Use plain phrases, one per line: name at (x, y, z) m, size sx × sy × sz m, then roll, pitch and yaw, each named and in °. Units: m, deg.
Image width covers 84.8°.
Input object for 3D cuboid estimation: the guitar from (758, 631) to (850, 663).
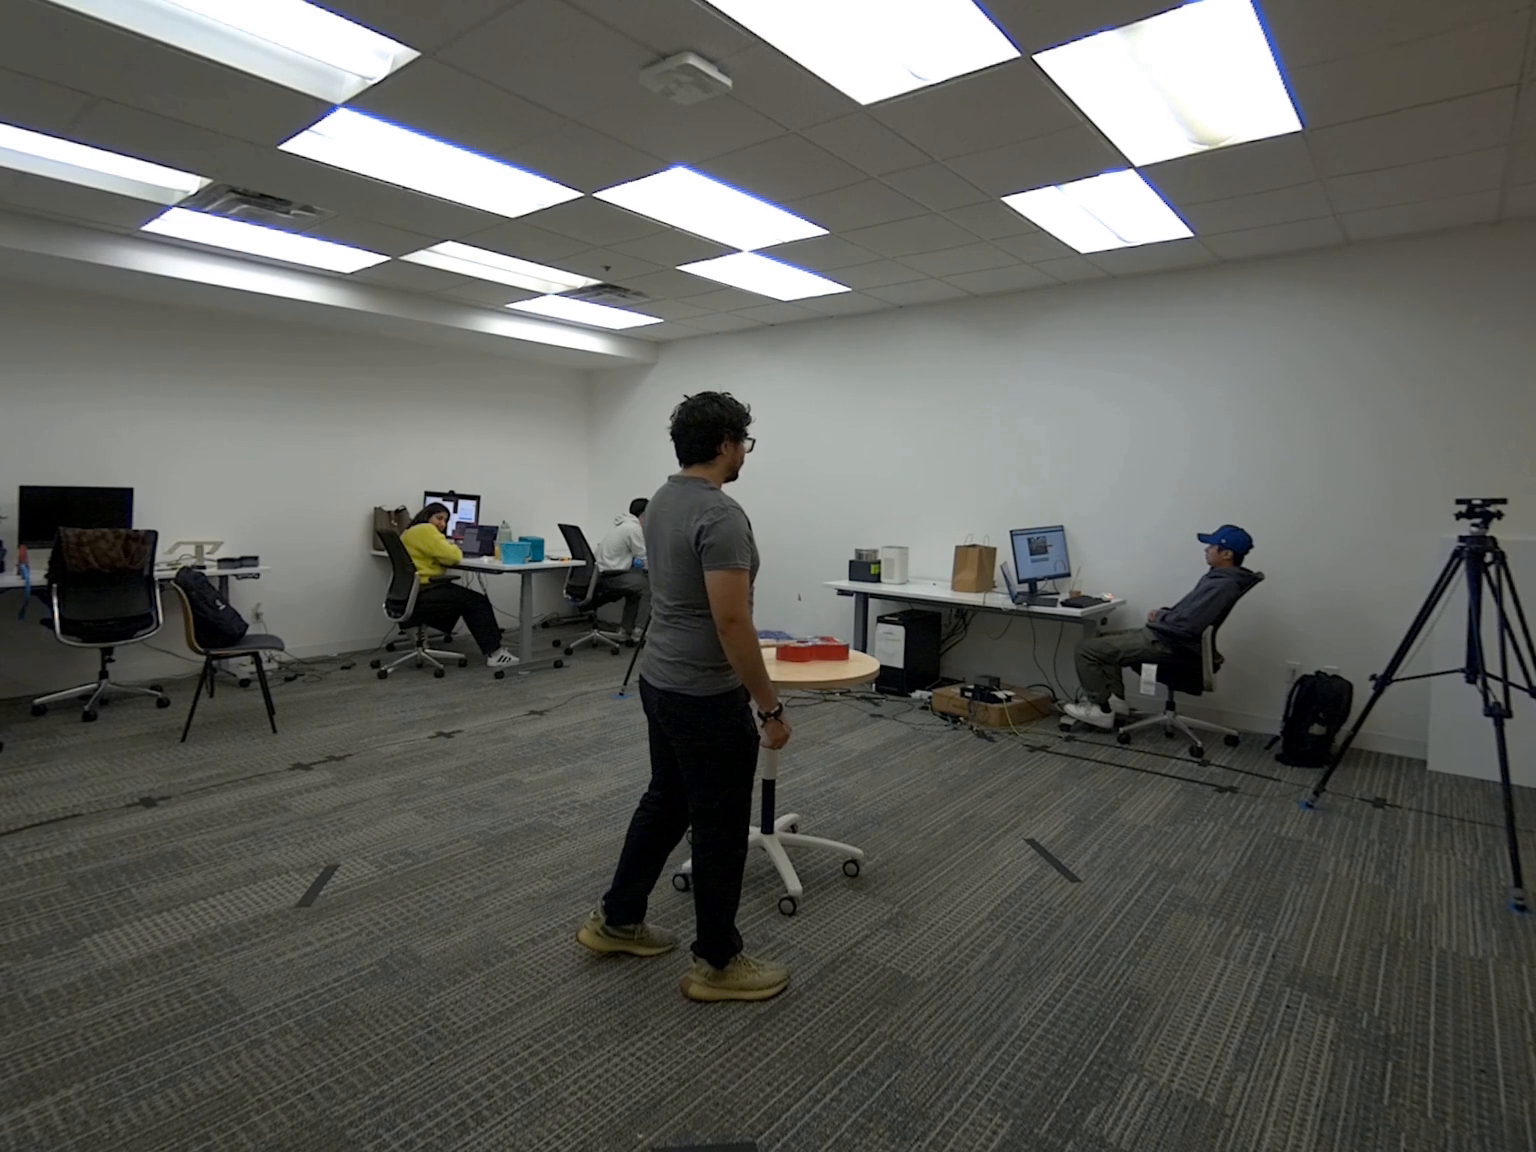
guitar at (0.048, 0.262, 3.083) m, size 0.487 × 0.070 × 0.198 m, roll 0°, pitch 6°, yaw -21°
